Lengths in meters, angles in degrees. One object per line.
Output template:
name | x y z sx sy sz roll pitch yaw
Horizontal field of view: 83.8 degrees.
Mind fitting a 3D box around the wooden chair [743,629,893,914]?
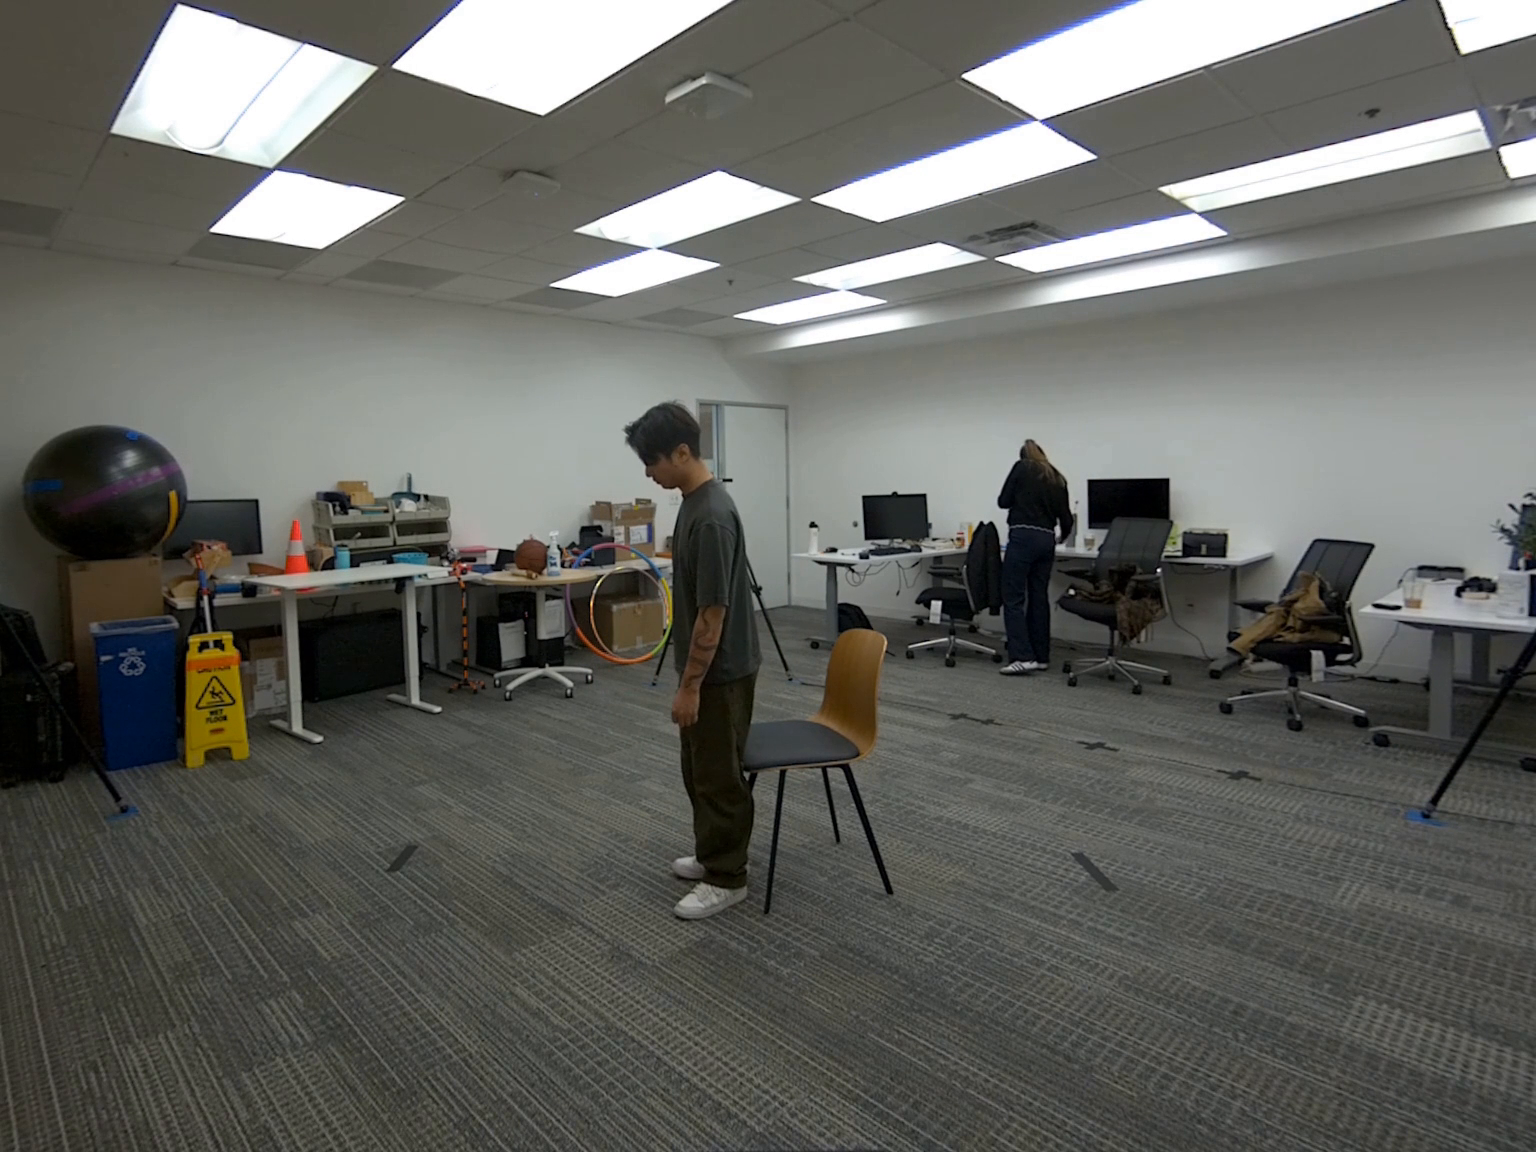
wooden chair | 0.124 0.626 2.979 0.515 0.875 0.487 2 3 -17
